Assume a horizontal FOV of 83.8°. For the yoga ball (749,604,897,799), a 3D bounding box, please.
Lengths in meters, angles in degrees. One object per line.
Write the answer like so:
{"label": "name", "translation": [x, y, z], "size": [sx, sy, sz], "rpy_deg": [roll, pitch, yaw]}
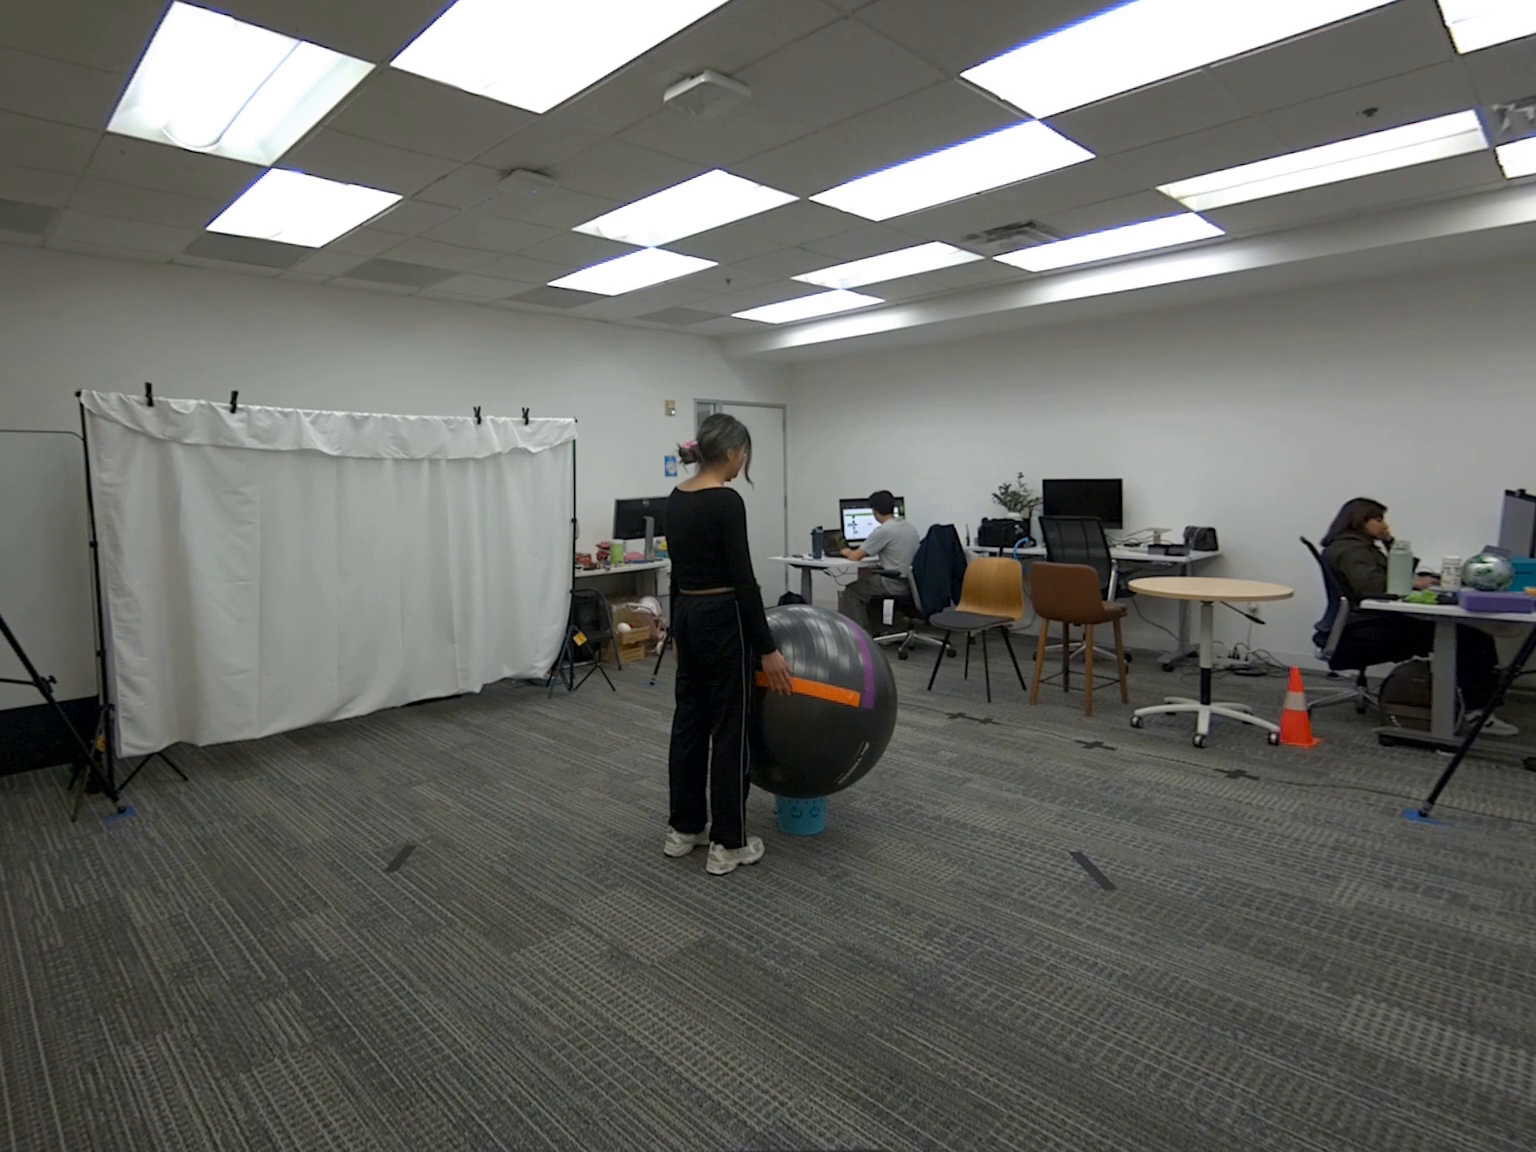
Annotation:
{"label": "yoga ball", "translation": [0.124, 0.499, 3.415], "size": [0.757, 0.755, 0.762], "rpy_deg": [-1, 5, -2]}
